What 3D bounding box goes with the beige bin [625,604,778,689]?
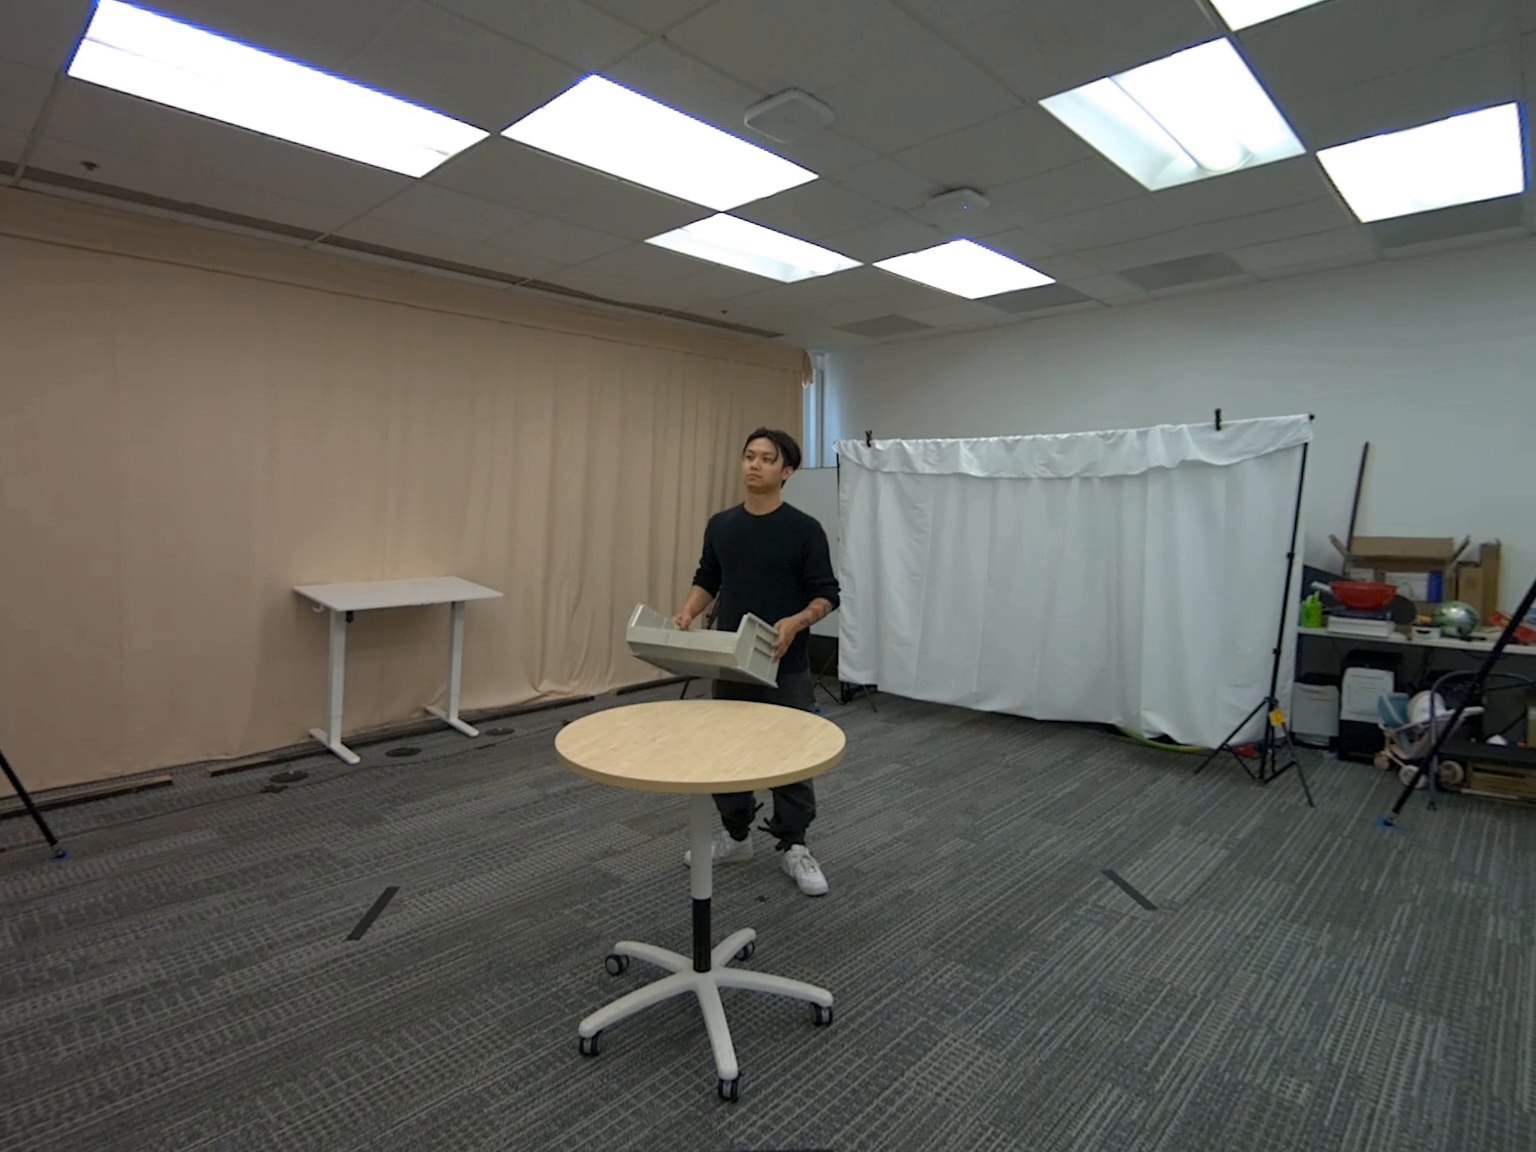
[{"bbox_3d":[-0.204,0.236,2.844,0.434,0.190,0.365,3,-19,27],"label":"beige bin"}]
